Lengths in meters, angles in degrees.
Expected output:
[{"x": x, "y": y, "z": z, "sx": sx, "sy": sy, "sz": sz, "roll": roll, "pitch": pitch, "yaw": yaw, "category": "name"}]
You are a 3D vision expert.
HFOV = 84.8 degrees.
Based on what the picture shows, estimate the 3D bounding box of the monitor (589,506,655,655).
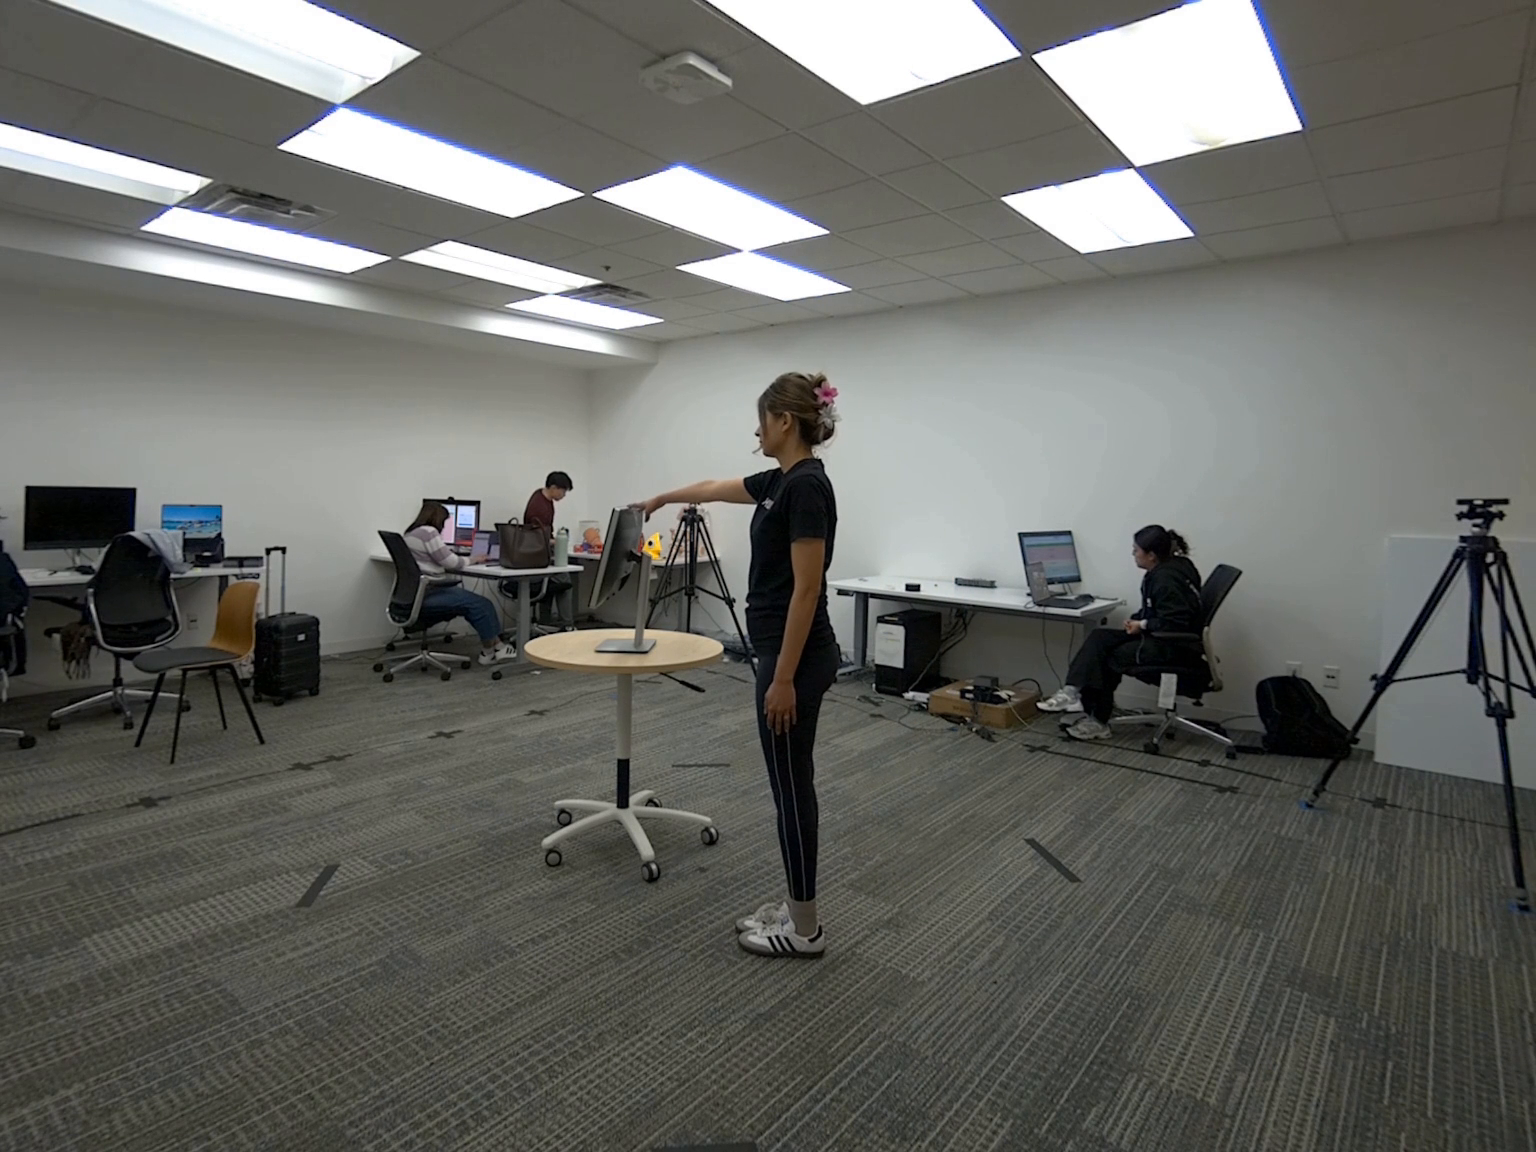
[{"x": -0.546, "y": 0.009, "z": 3.246, "sx": 0.187, "sy": 0.520, "sz": 0.541, "roll": 1, "pitch": 5, "yaw": -1, "category": "monitor"}]
